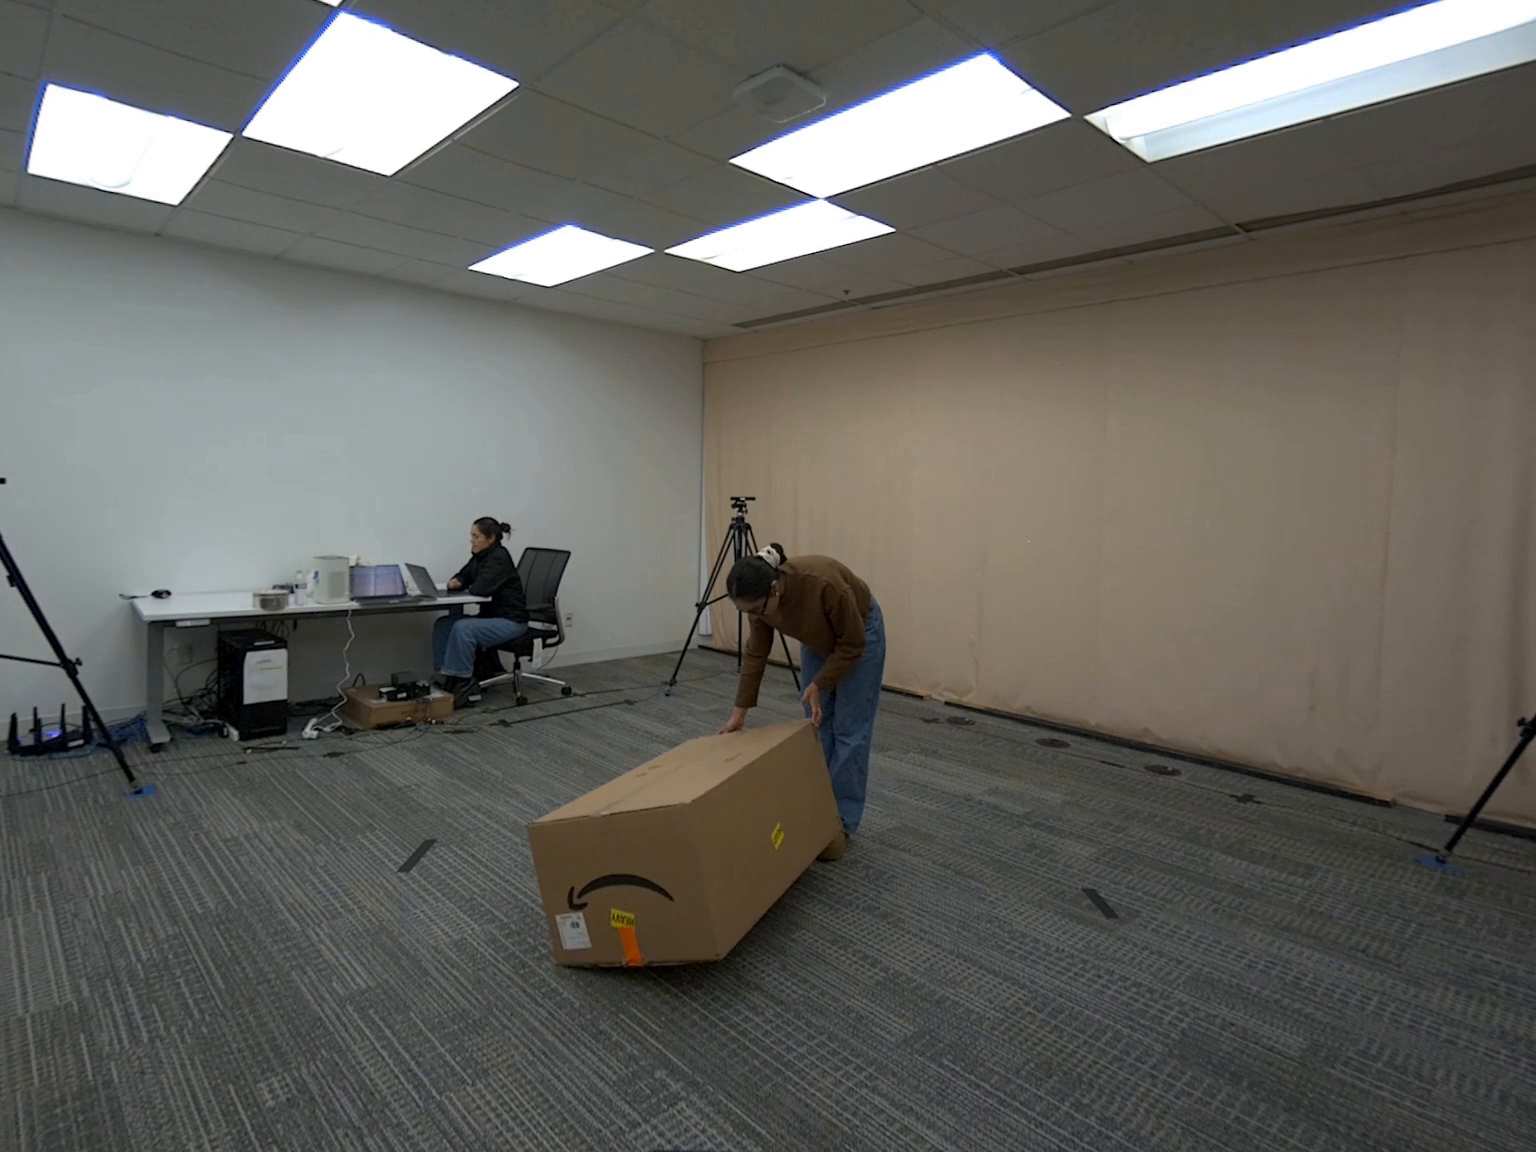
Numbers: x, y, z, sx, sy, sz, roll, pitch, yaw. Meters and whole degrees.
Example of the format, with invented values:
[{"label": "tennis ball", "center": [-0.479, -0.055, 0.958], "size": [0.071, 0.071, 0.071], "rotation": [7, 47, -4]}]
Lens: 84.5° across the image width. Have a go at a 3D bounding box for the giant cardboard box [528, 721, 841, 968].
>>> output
[{"label": "giant cardboard box", "center": [-0.229, 0.857, 2.832], "size": [0.592, 0.448, 1.011], "rotation": [-13, -1, 25]}]
